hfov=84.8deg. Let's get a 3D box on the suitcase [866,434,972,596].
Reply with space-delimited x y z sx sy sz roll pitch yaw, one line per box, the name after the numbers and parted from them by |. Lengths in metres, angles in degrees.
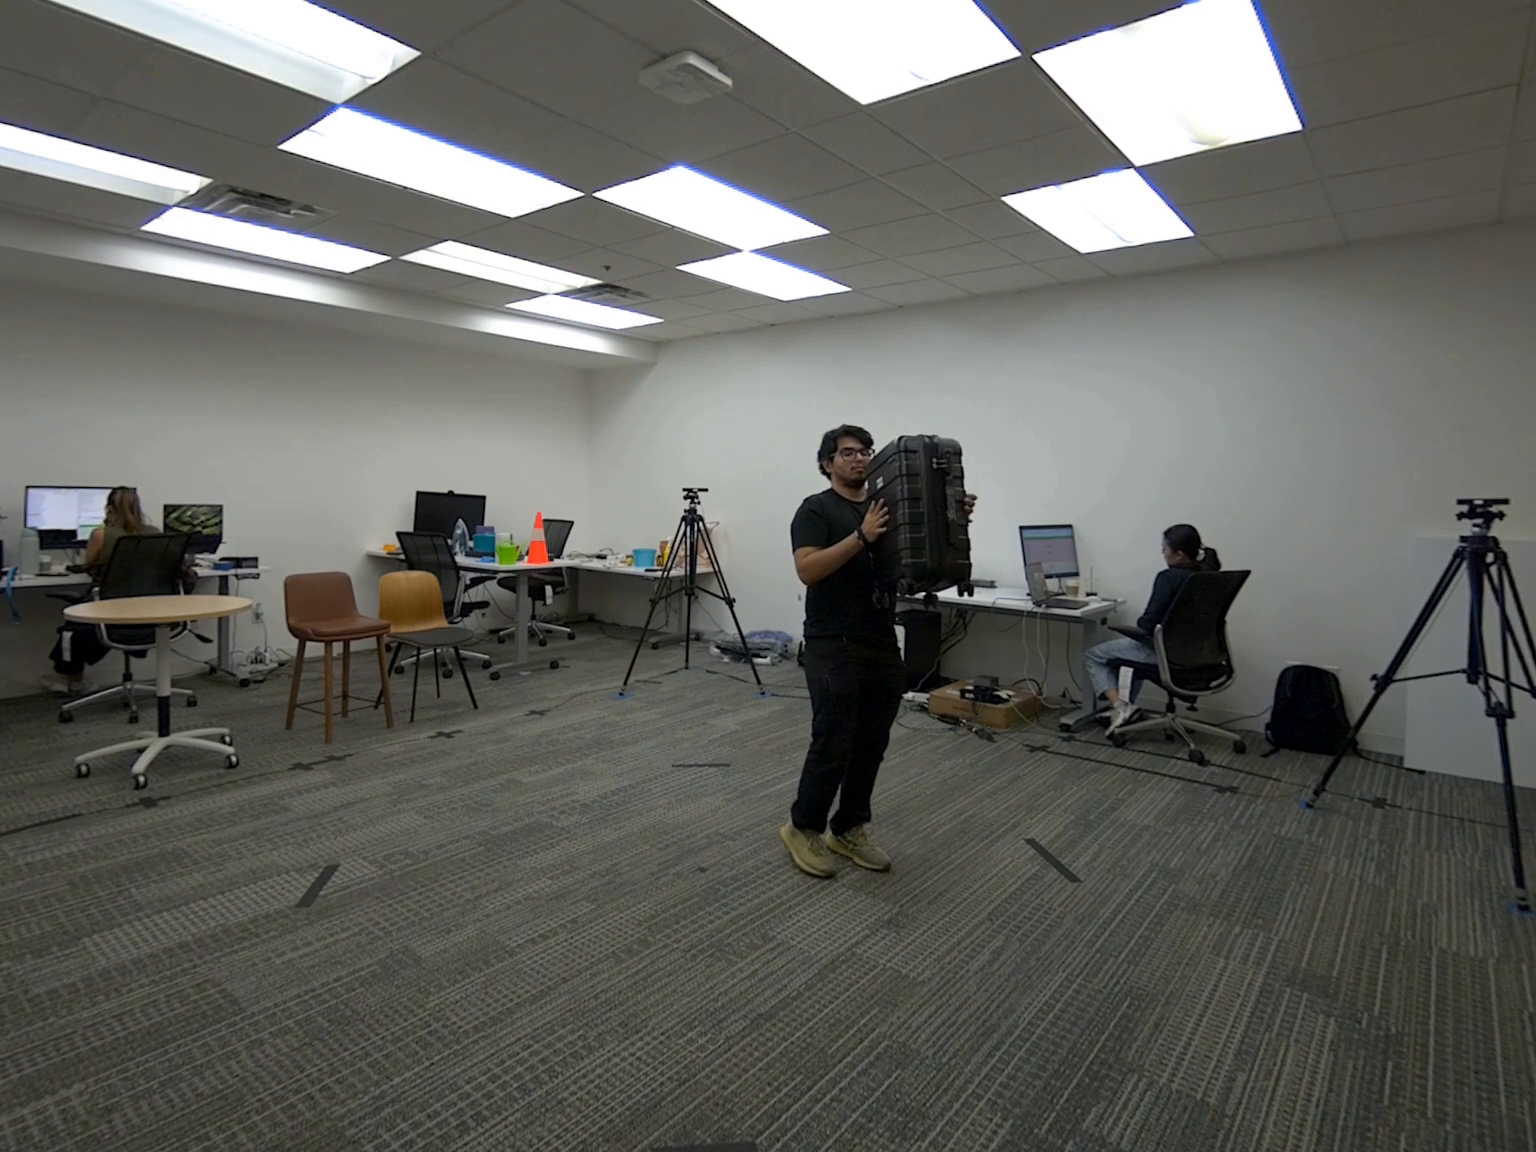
0.492 -0.197 2.880 0.245 0.556 0.376 2 -12 -14 | suitcase
